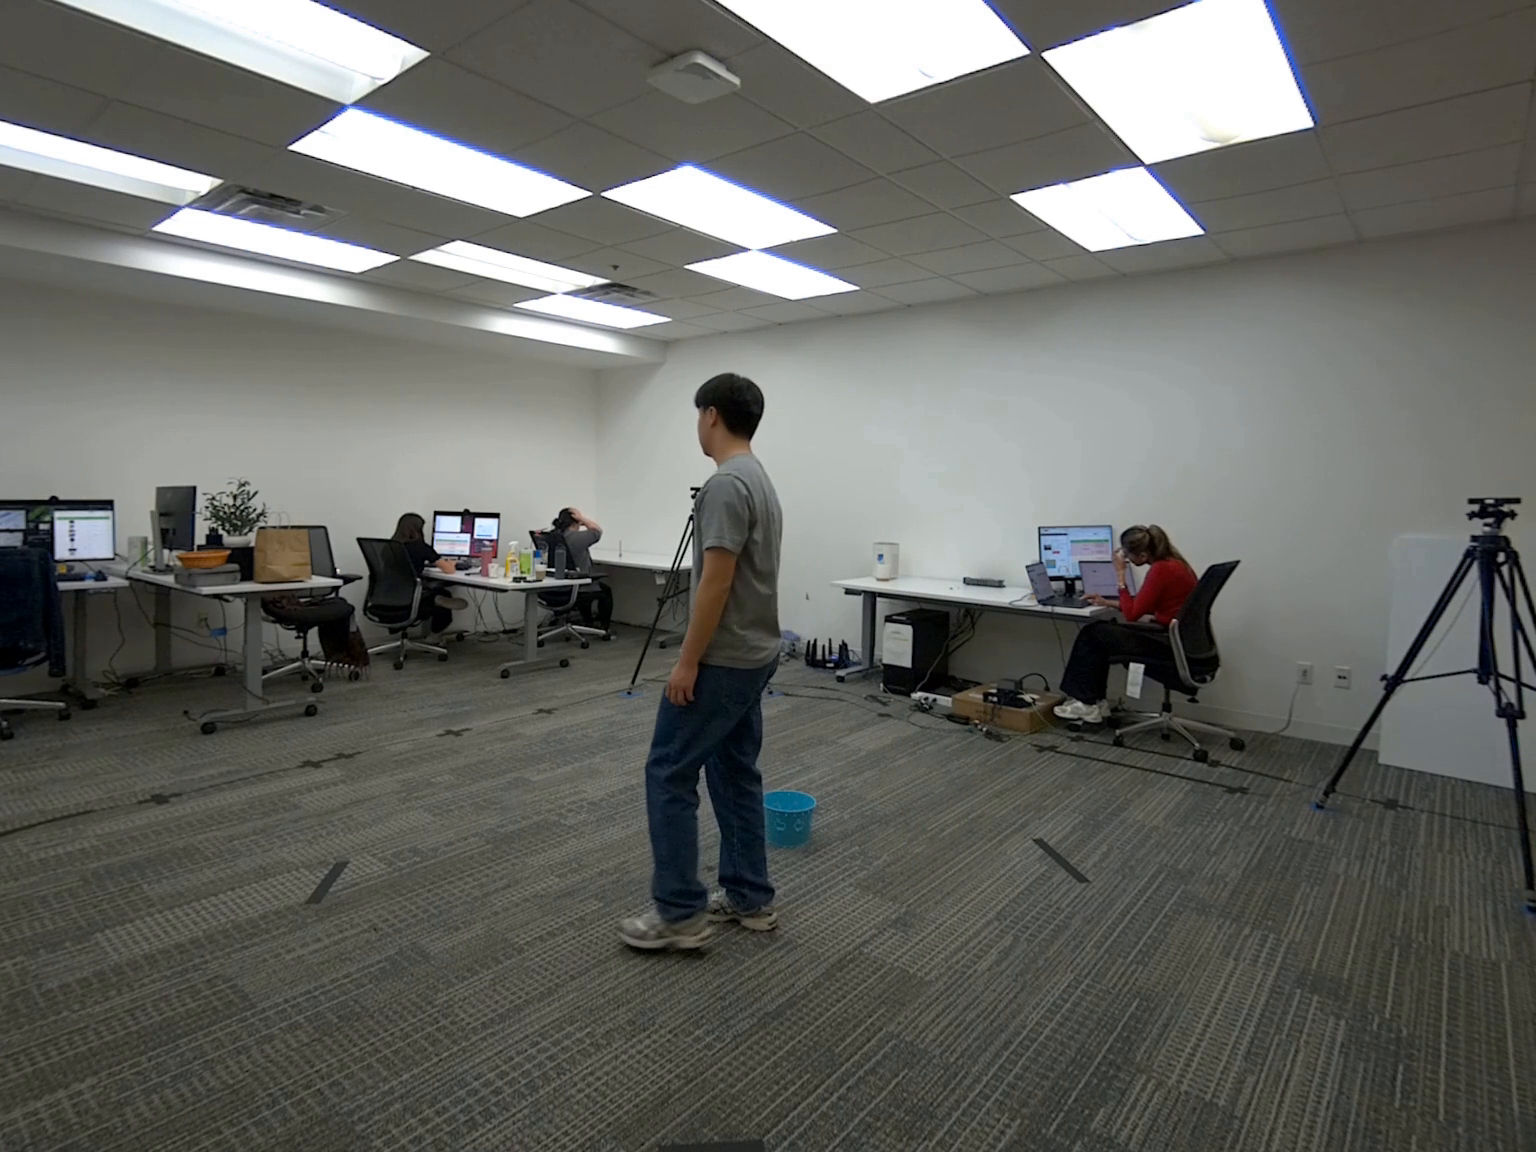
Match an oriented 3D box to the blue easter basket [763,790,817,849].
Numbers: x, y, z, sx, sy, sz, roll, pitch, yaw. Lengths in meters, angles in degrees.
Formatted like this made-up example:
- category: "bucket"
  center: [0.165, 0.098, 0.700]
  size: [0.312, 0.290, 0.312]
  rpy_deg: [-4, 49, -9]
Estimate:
- category: "blue easter basket"
  center: [0.070, 0.965, 3.397]
  size: [0.243, 0.155, 0.245]
  rpy_deg: [0, 5, -2]
